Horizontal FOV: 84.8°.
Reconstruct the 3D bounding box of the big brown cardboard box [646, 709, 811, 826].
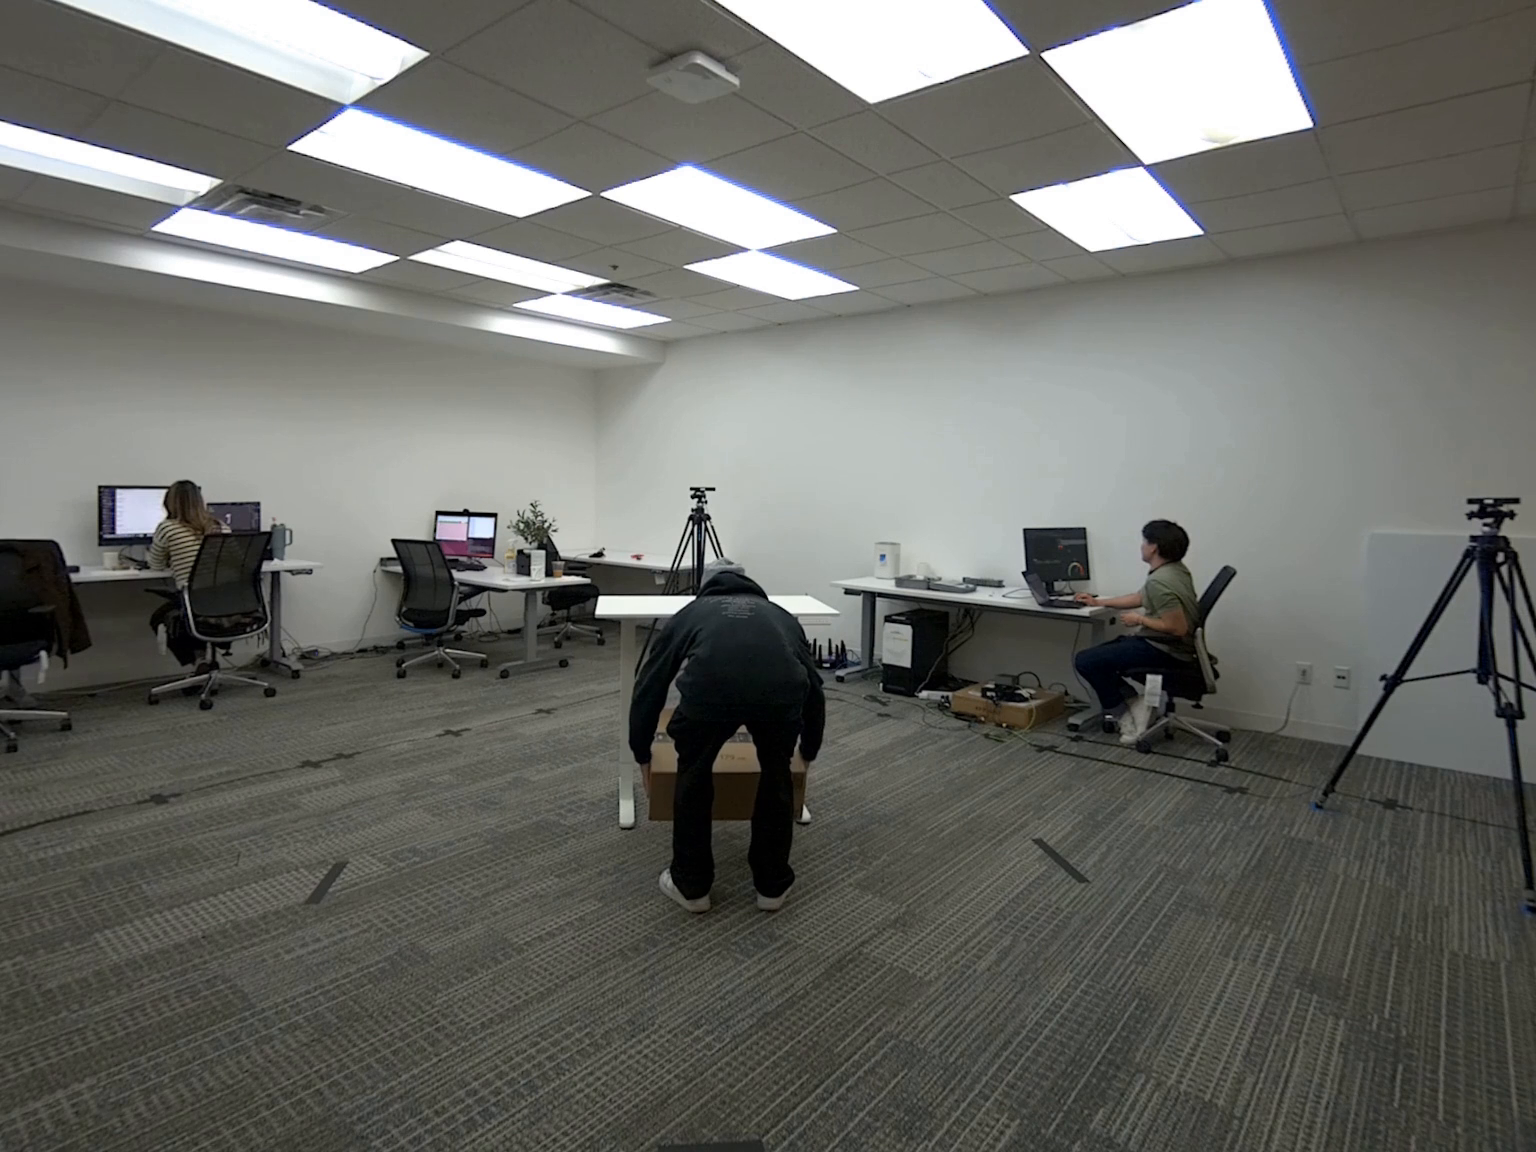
[{"bbox_3d":[-0.183,0.710,3.238,0.586,0.229,0.427,2,21,-5],"label":"big brown cardboard box"}]
